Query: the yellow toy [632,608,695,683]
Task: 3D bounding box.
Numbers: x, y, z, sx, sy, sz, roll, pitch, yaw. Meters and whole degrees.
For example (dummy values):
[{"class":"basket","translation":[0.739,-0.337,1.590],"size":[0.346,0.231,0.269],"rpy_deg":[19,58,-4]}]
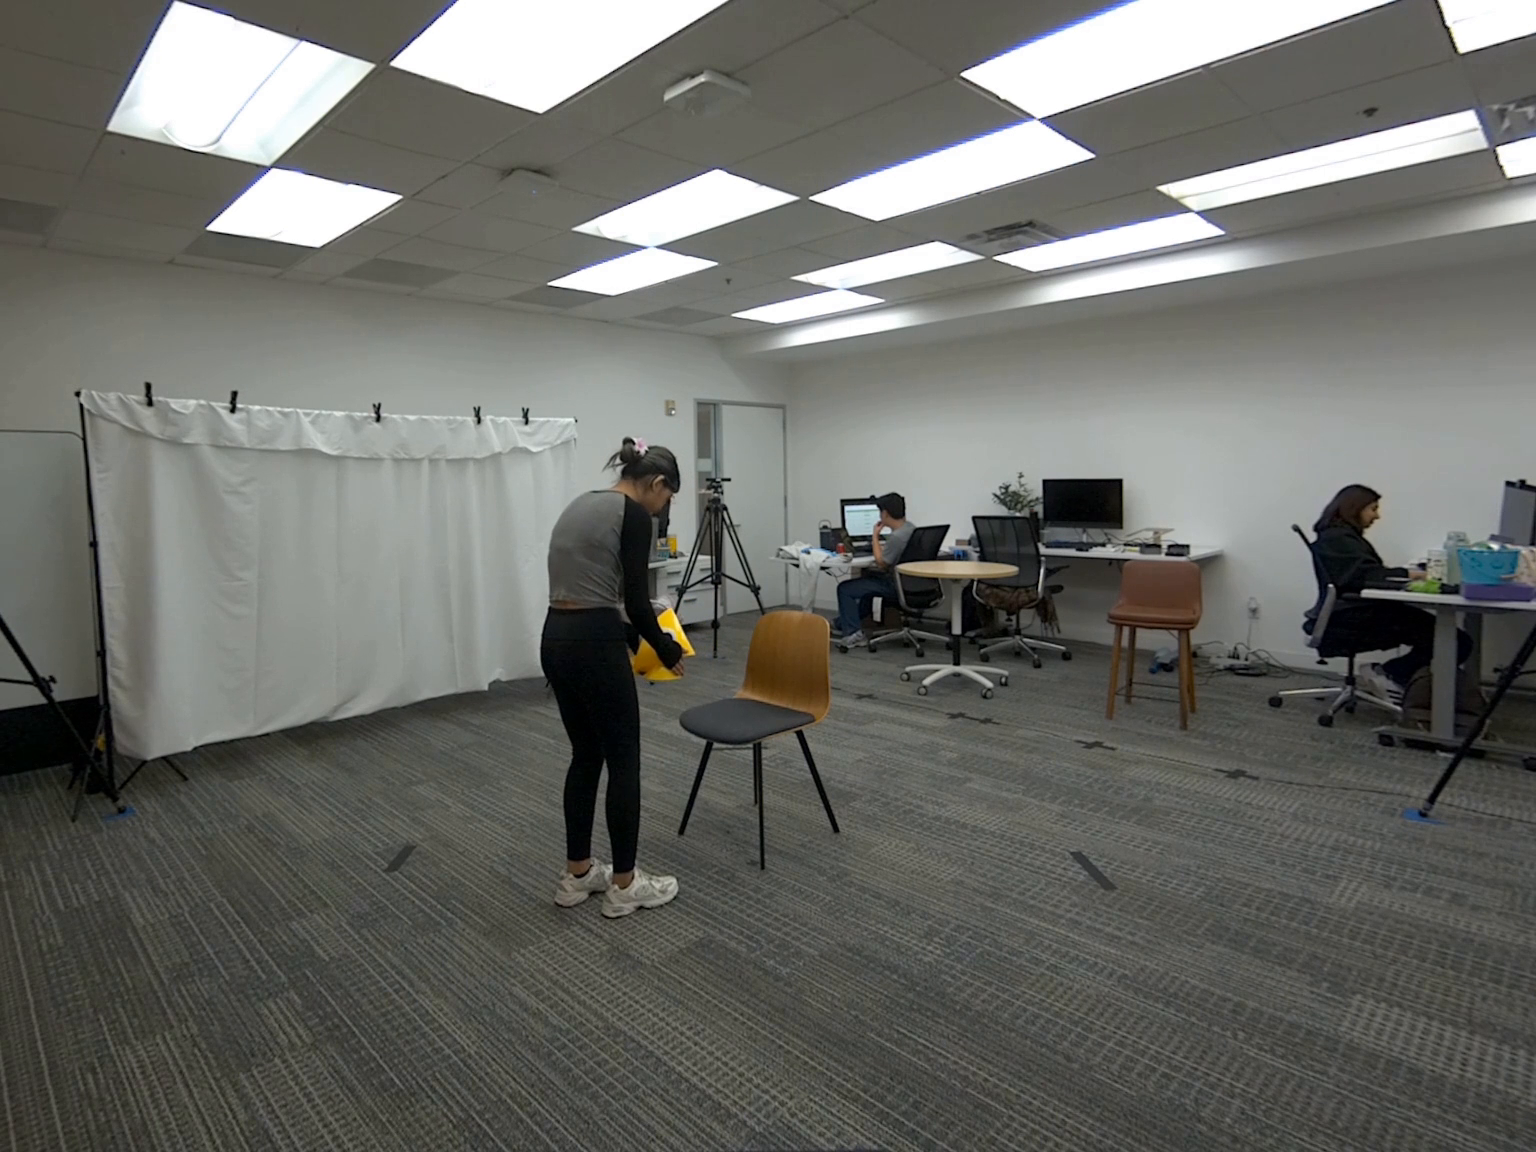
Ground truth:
[{"class":"yellow toy","translation":[-0.383,0.227,2.943],"size":[0.211,0.230,0.187],"rpy_deg":[5,2,42]}]
